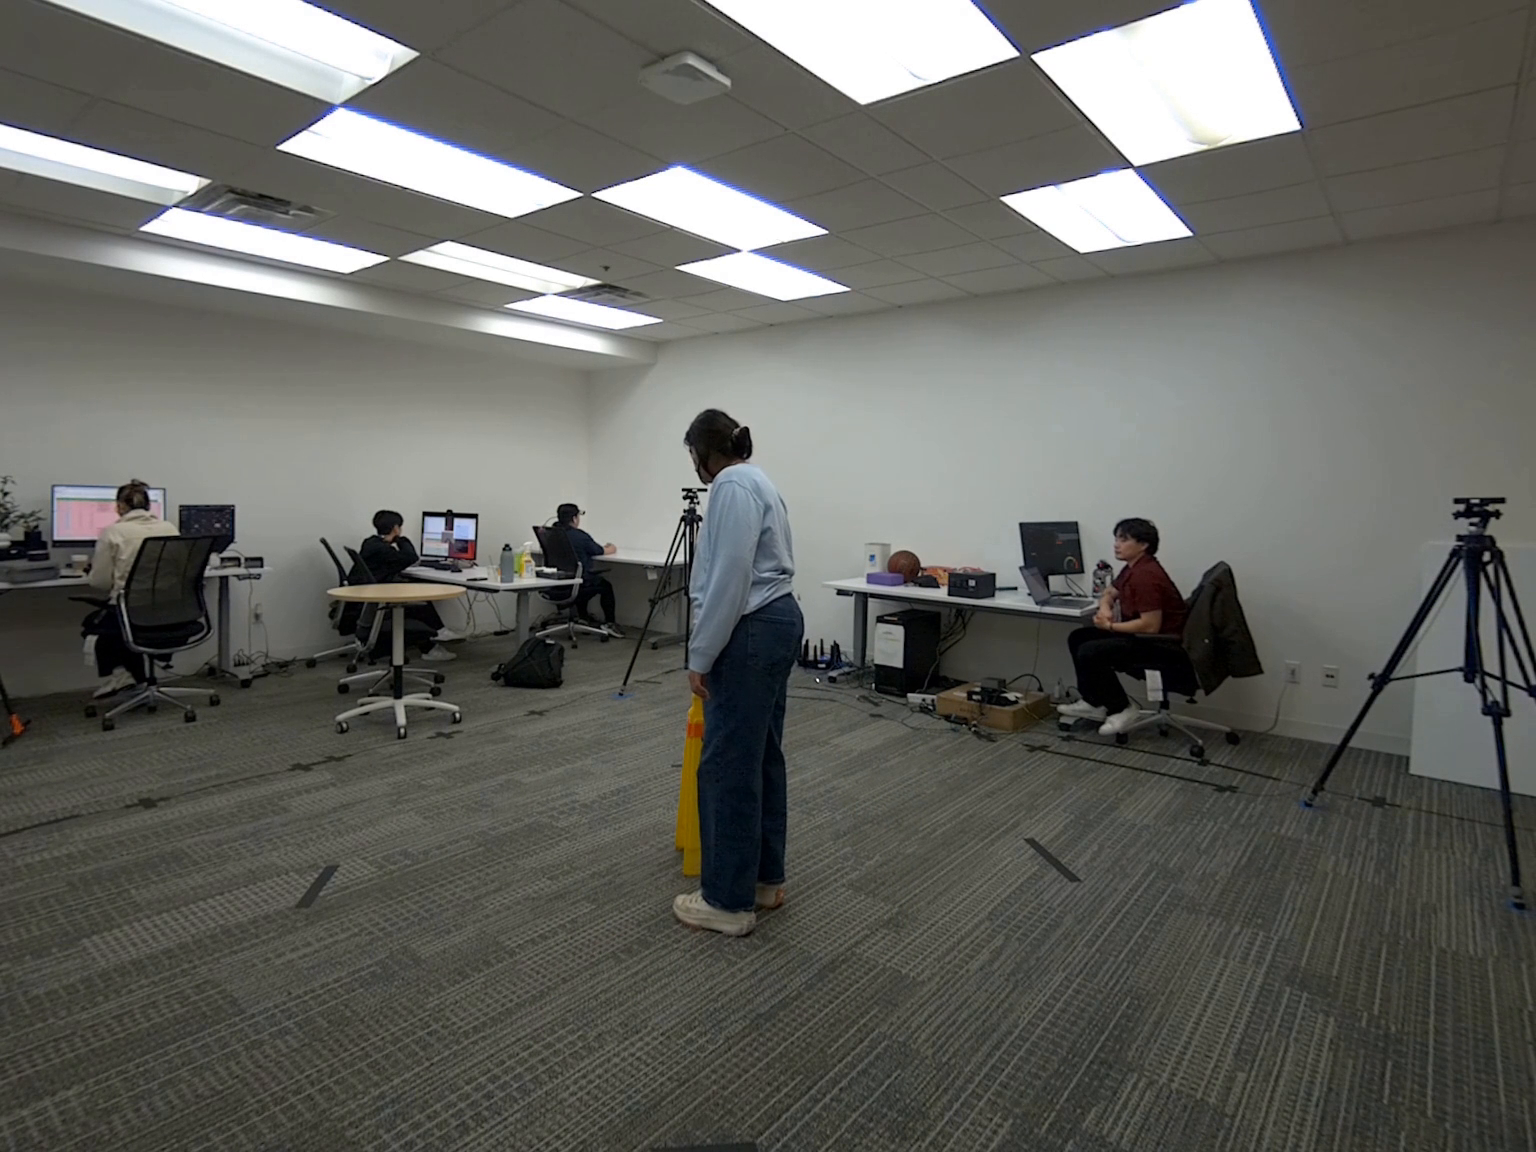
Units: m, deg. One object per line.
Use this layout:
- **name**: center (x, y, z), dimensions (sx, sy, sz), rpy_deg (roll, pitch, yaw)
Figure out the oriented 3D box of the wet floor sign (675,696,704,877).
- **wet floor sign**: center (-0.194, 0.738, 3.180), dimensions (0.279, 0.645, 0.294), rpy_deg (1, 2, -11)
